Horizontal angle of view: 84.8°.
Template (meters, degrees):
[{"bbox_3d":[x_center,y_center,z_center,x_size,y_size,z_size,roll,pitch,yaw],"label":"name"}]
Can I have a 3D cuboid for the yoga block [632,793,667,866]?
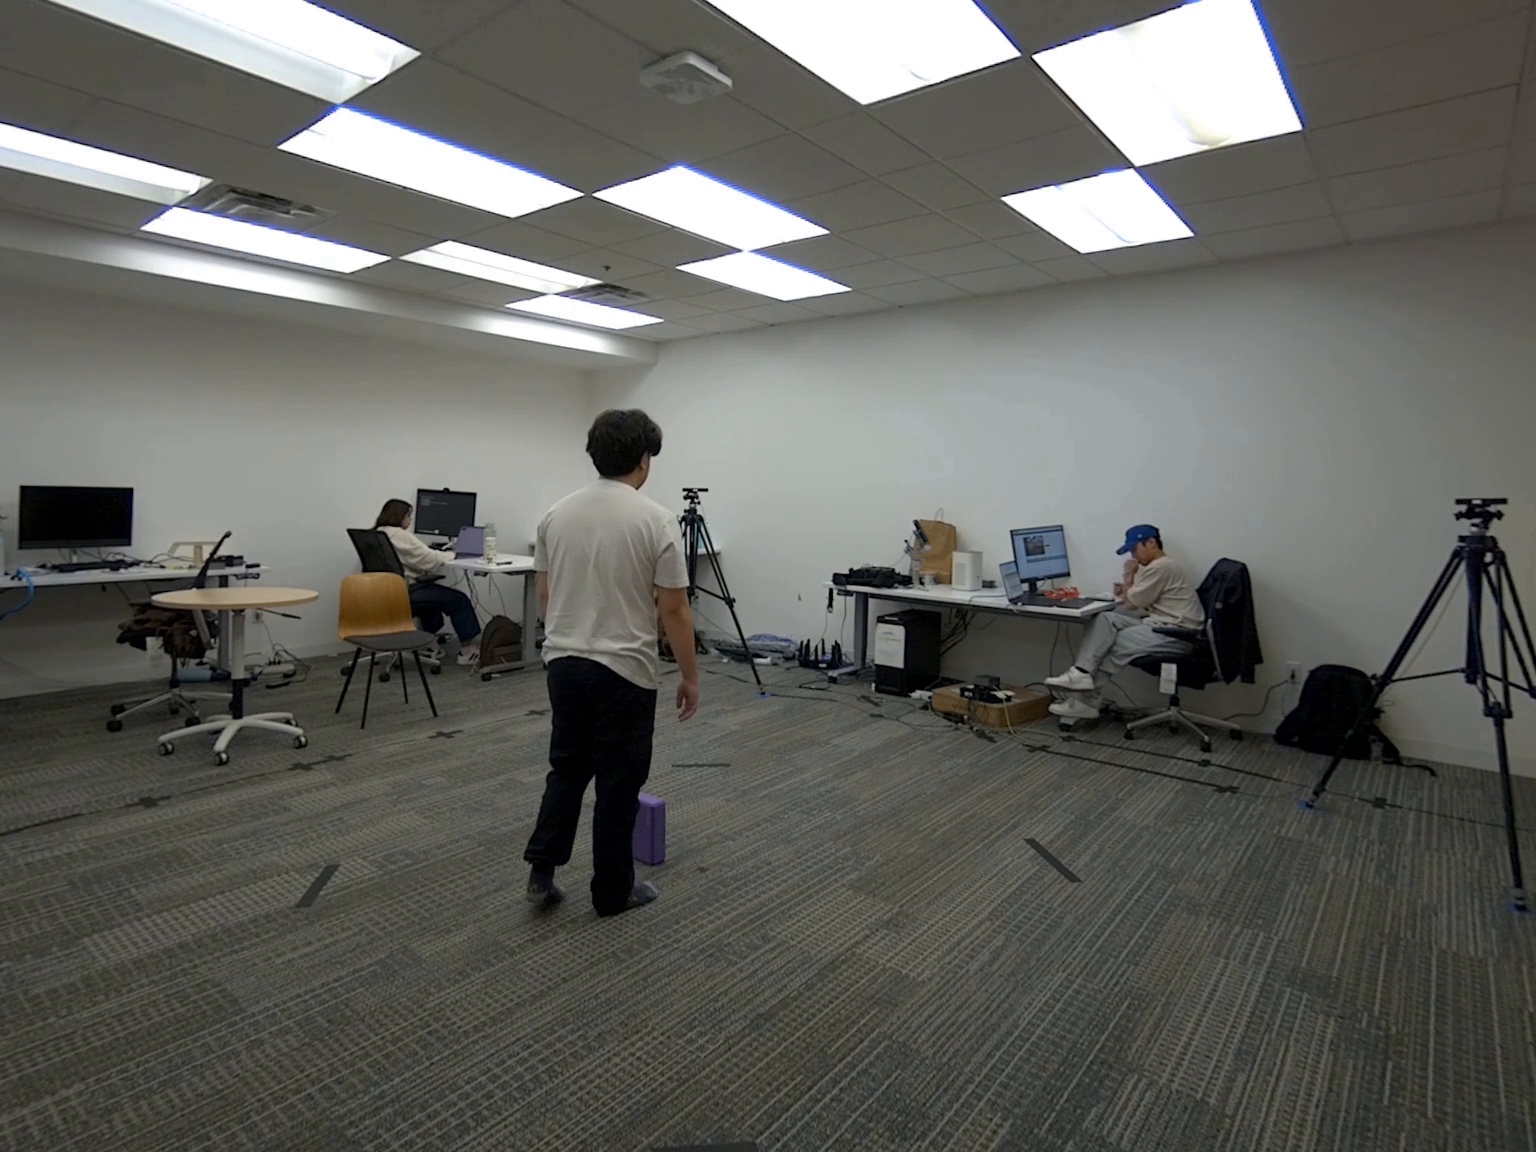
[{"bbox_3d":[-0.468,0.943,3.192,0.154,0.229,0.074,1,1,43],"label":"yoga block"}]
